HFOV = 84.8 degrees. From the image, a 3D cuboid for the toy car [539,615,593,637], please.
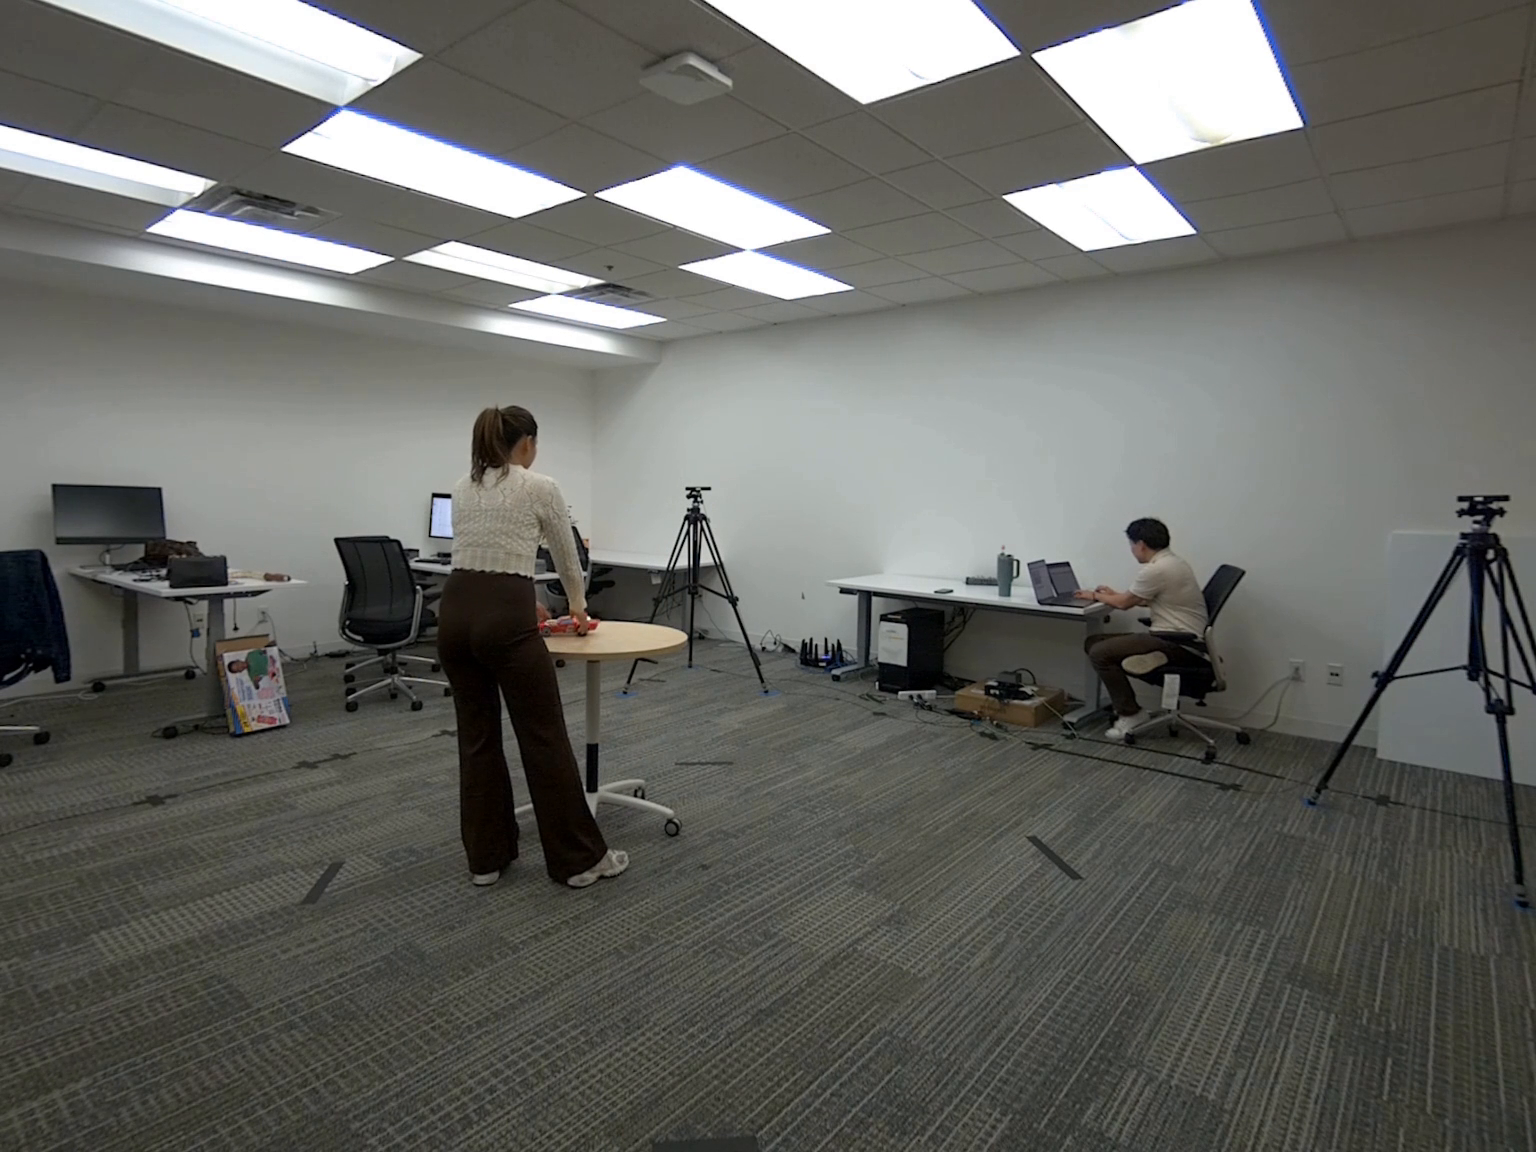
[{"bbox_3d":[-0.828,0.206,3.474,0.252,0.082,0.132,-12,7,-11],"label":"toy car"}]
